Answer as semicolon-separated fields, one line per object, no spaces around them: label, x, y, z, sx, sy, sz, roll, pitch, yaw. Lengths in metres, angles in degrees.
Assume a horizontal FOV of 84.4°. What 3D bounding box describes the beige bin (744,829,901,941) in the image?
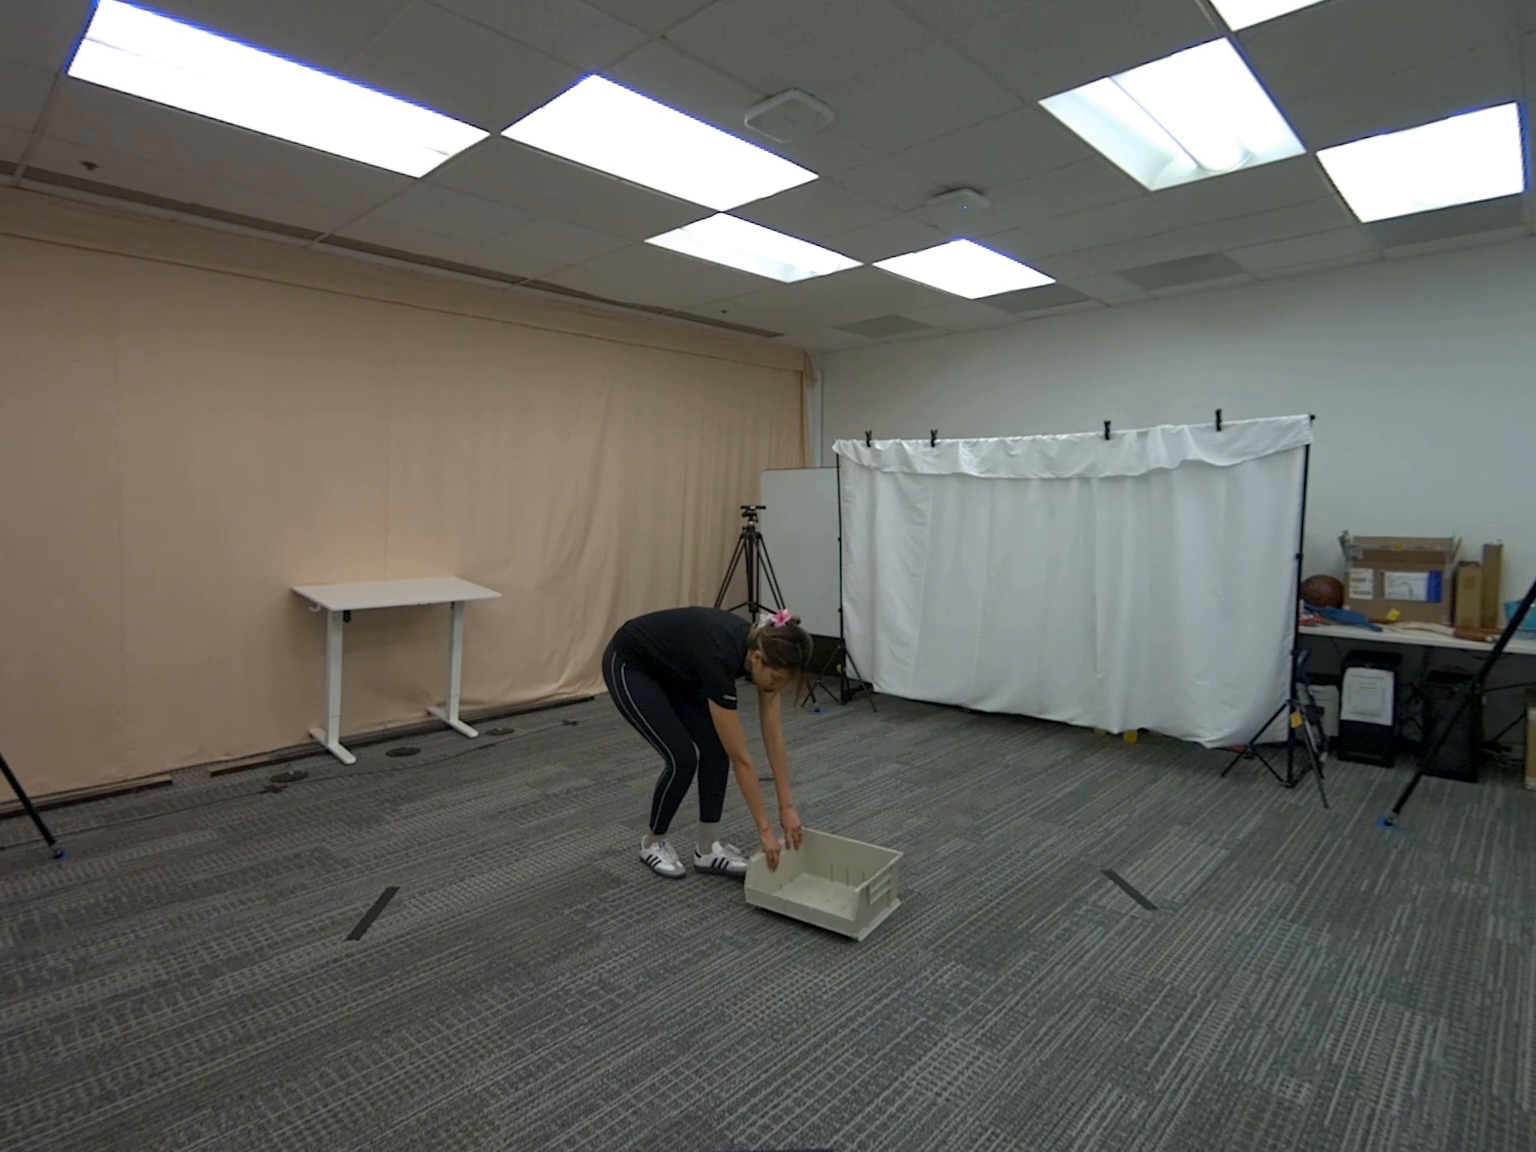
beige bin;0.207;1.060;2.905;0.435;0.189;0.366;2;4;34
